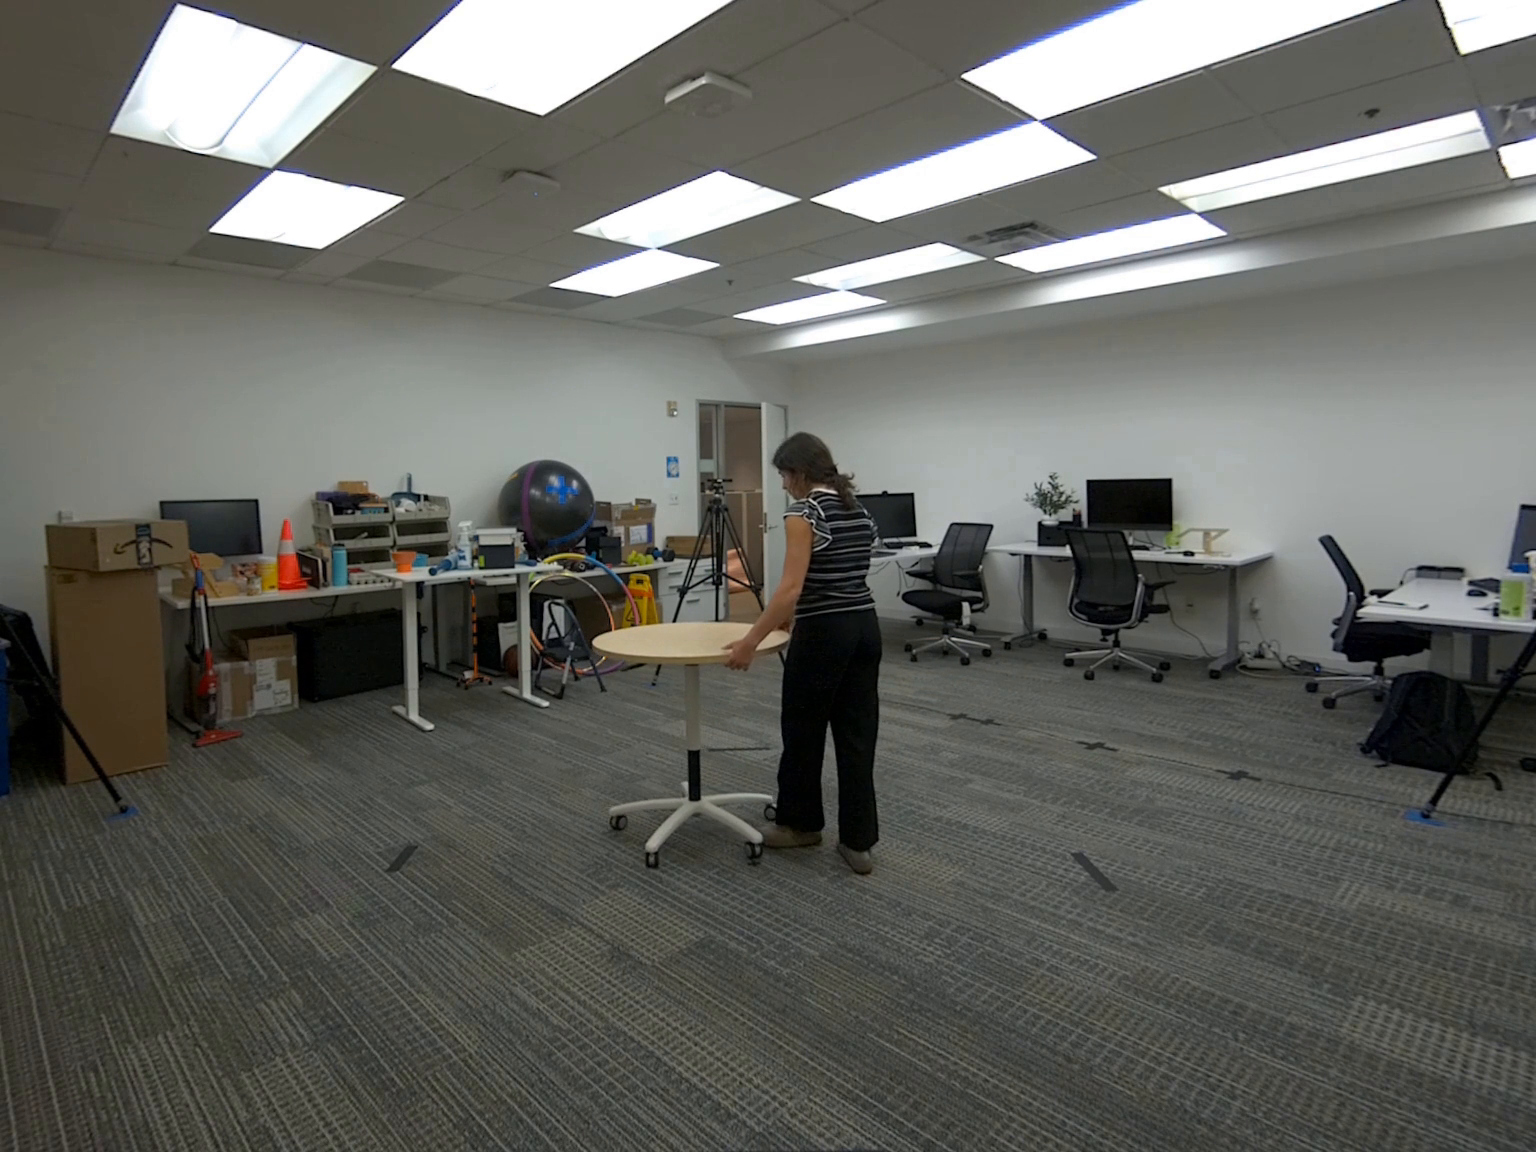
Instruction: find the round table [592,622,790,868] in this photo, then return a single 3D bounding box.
[{"bbox_3d":[-0.303,0.625,3.359,0.784,0.784,0.789,-1,4,-2],"label":"round table"}]
